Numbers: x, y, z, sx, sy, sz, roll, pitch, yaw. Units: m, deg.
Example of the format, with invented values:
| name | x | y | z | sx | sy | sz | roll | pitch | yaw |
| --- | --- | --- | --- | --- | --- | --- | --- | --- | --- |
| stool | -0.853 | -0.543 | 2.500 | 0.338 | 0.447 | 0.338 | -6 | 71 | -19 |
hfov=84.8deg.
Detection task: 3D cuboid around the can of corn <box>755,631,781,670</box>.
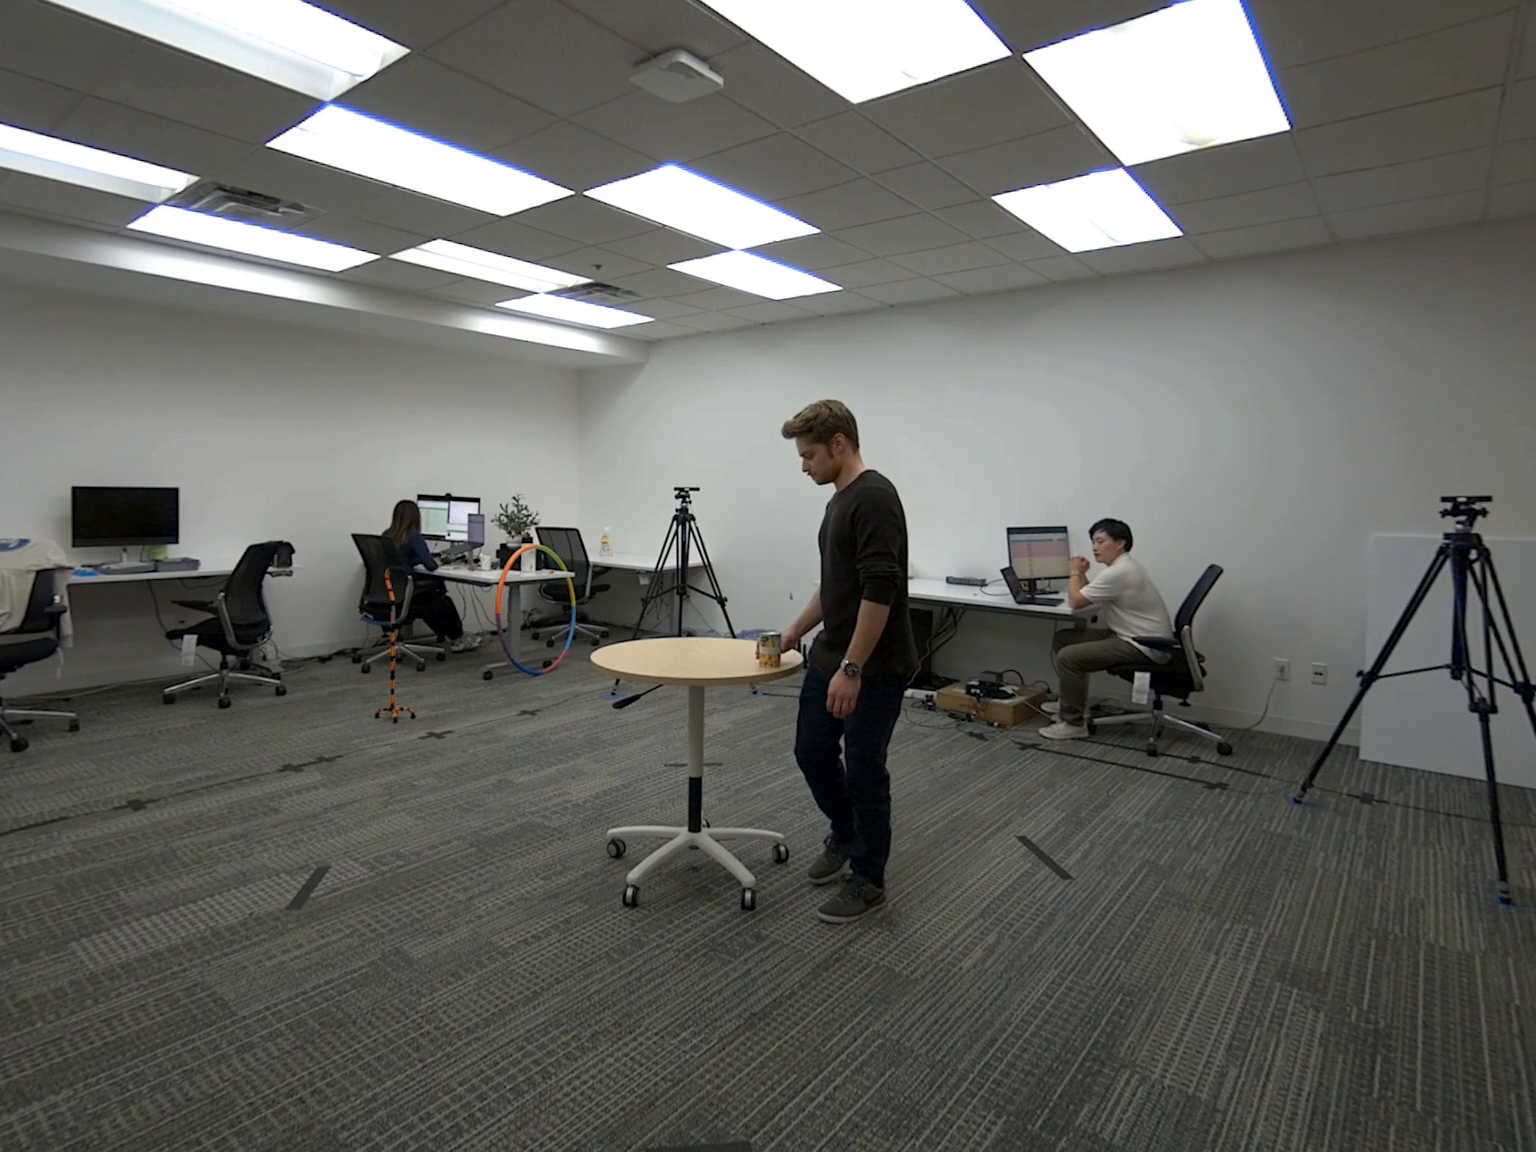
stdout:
| name | x | y | z | sx | sy | sz | roll | pitch | yaw |
| --- | --- | --- | --- | --- | --- | --- | --- | --- | --- |
| can of corn | -0.001 | 0.246 | 2.905 | 0.074 | 0.111 | 0.074 | 2 | 2 | -2 |
